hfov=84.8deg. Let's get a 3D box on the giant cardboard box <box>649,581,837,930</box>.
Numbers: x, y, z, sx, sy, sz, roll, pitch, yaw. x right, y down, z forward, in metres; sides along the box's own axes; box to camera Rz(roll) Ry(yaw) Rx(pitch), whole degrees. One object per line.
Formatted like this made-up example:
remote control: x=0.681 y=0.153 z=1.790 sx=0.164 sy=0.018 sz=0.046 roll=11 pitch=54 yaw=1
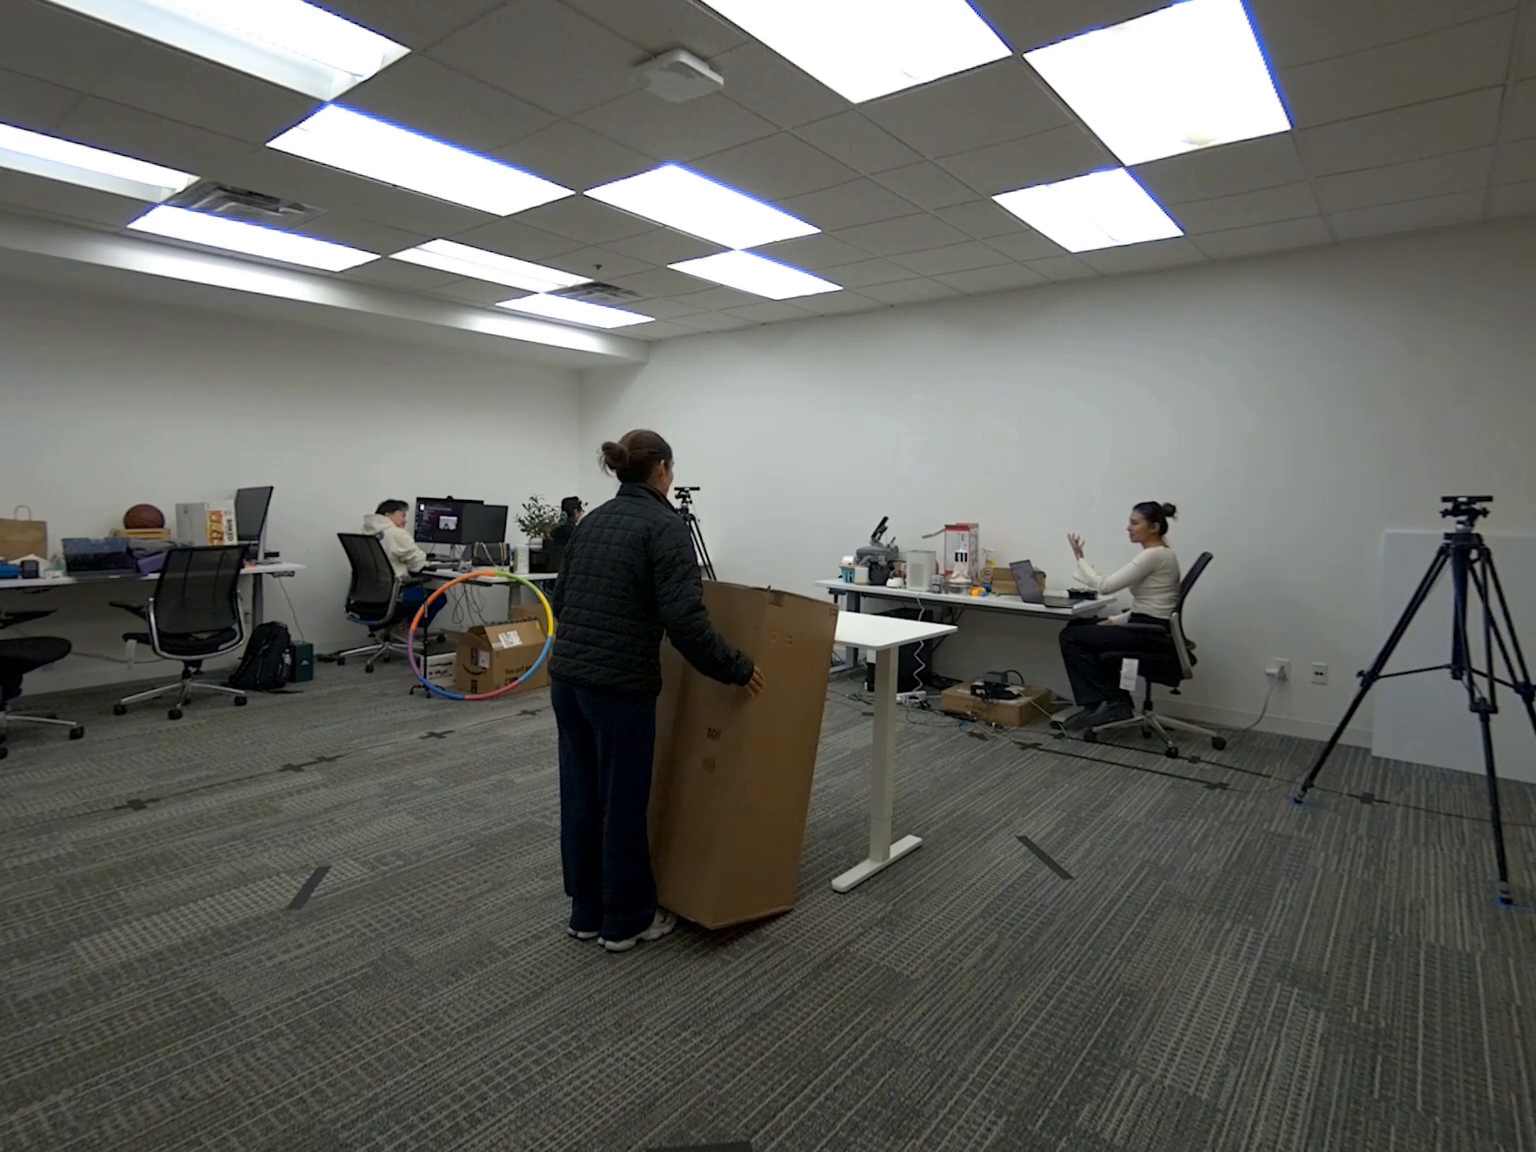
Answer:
giant cardboard box: x=-0.165 y=0.539 z=2.909 sx=0.604 sy=1.032 sz=0.430 roll=5 pitch=-7 yaw=41
